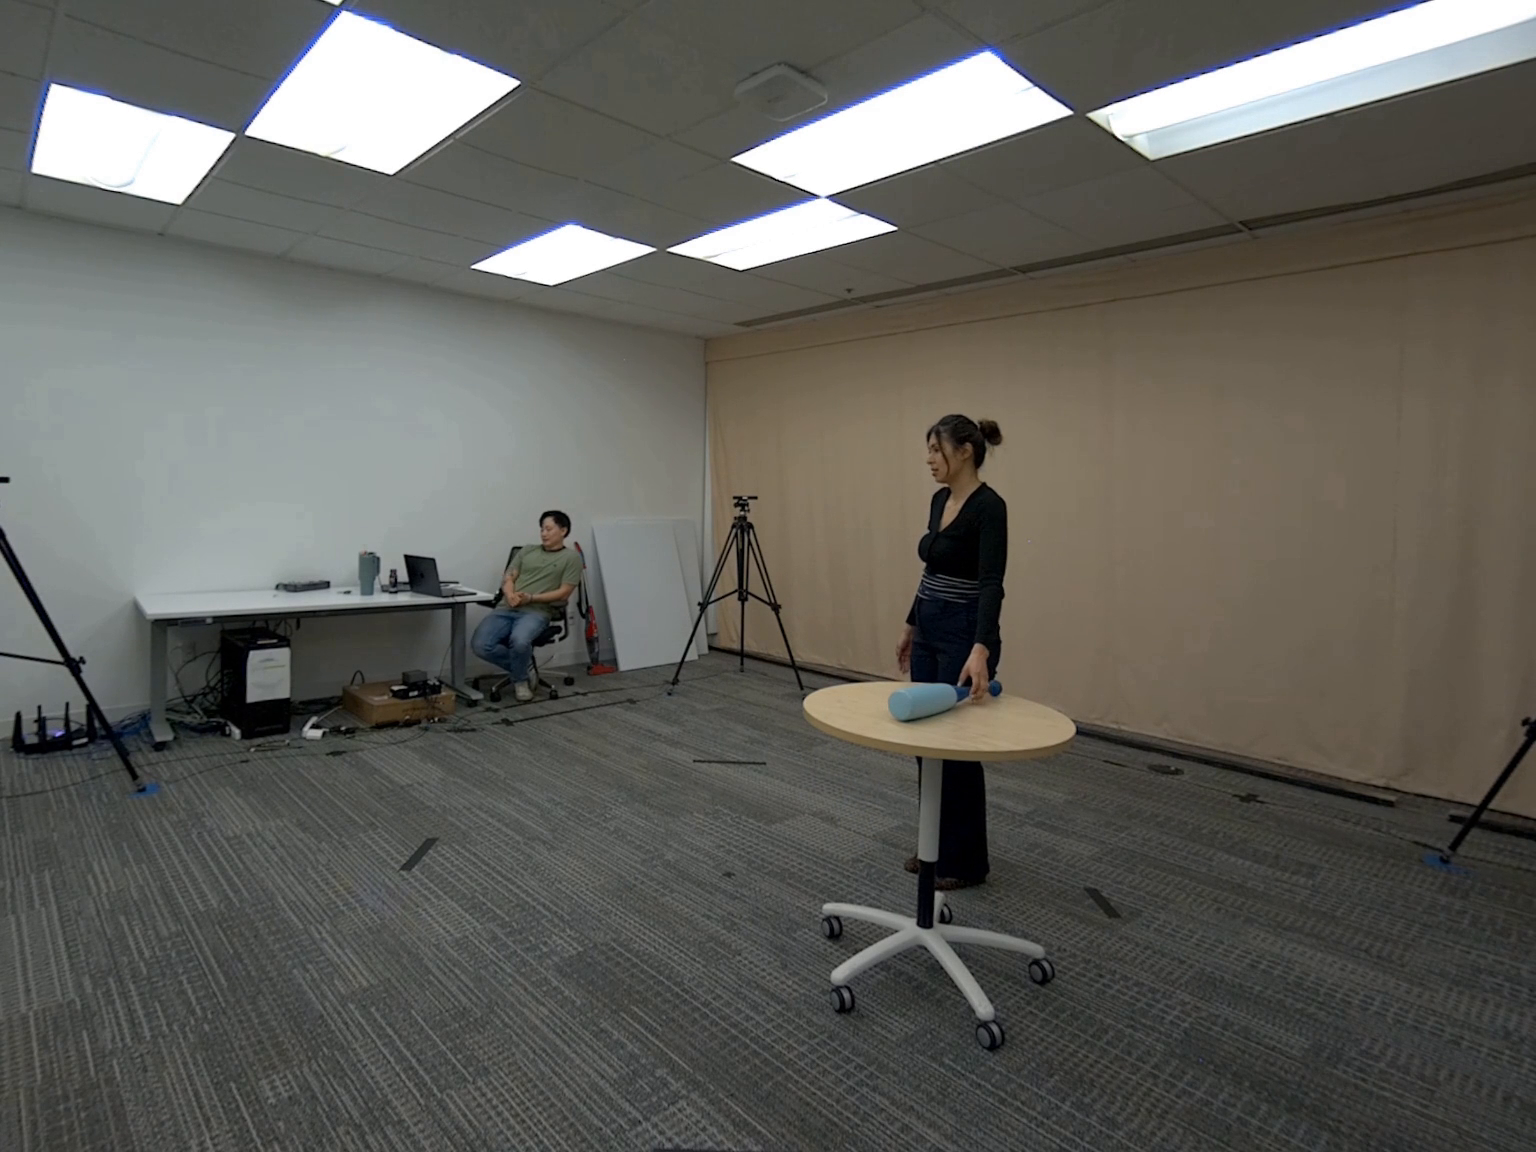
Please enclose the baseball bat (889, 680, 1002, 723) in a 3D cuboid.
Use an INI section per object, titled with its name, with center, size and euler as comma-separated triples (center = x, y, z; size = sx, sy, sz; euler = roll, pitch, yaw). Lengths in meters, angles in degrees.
[baseball bat]
center = 0.544, 0.360, 2.495
size = 0.530, 0.089, 0.091
euler = 1, 3, -44
